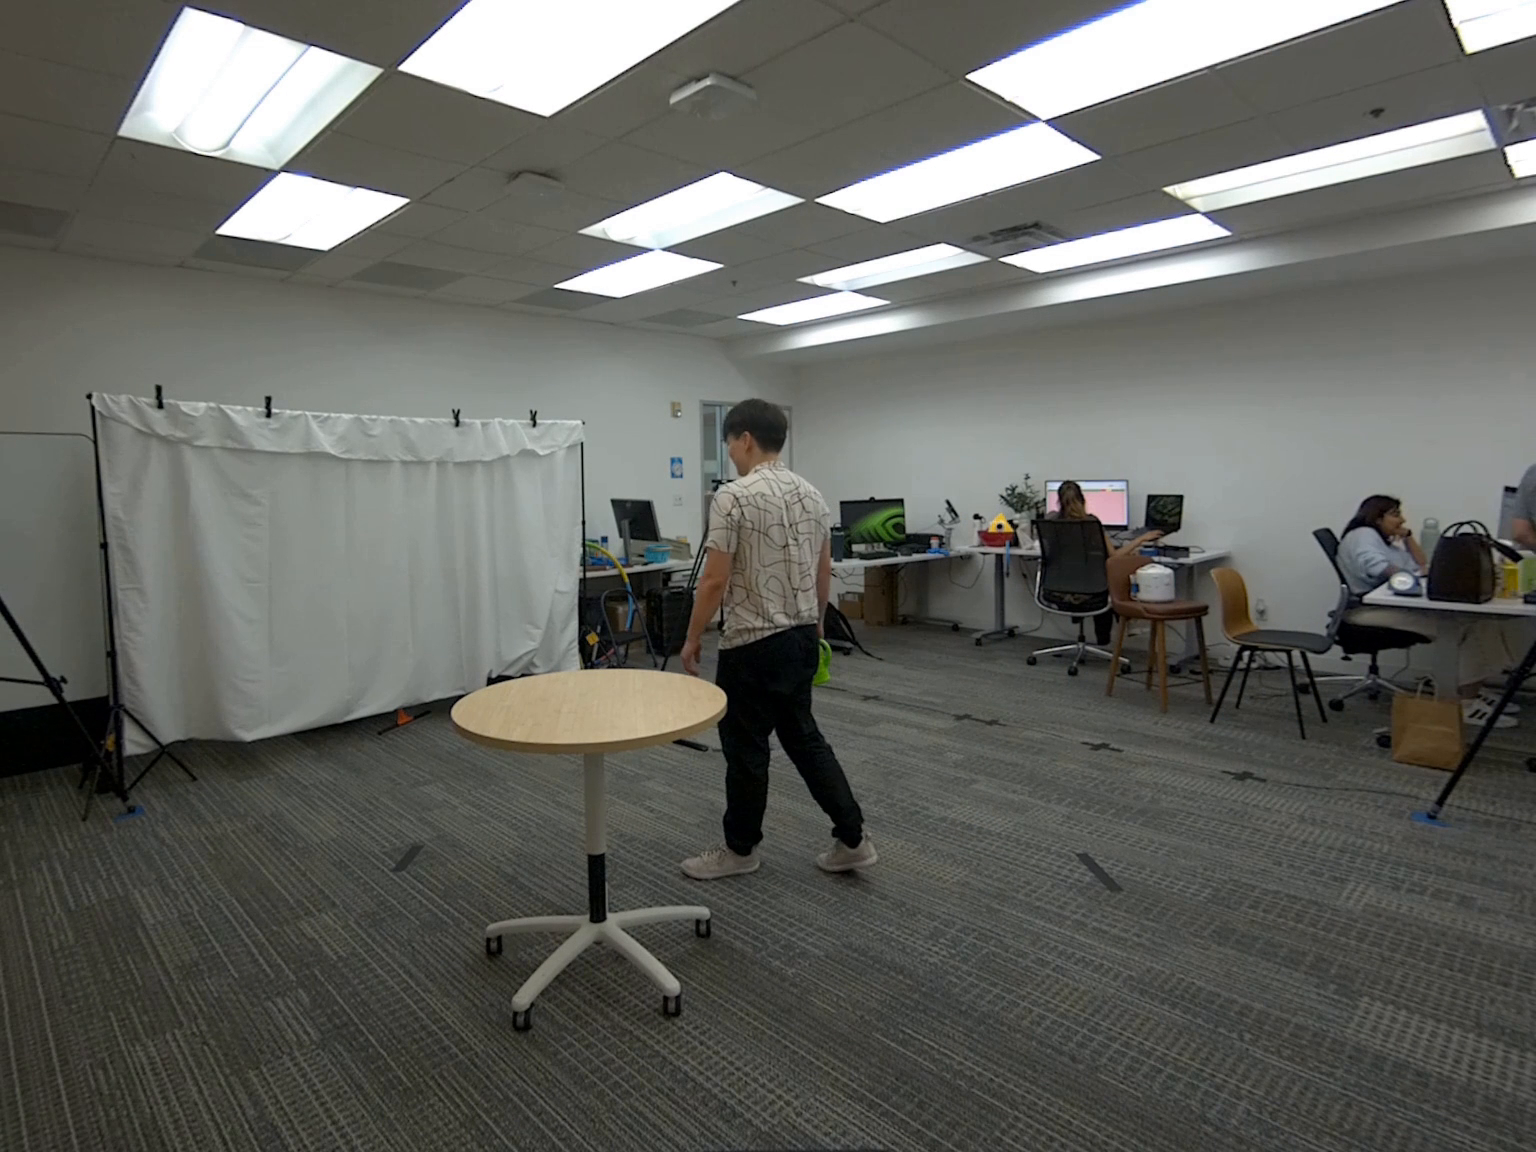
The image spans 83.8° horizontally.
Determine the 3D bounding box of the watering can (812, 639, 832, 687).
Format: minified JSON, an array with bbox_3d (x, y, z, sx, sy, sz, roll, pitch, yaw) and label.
[{"bbox_3d":[0.123,0.335,3.311,0.284,0.177,0.096,-11,1,38],"label":"watering can"}]
